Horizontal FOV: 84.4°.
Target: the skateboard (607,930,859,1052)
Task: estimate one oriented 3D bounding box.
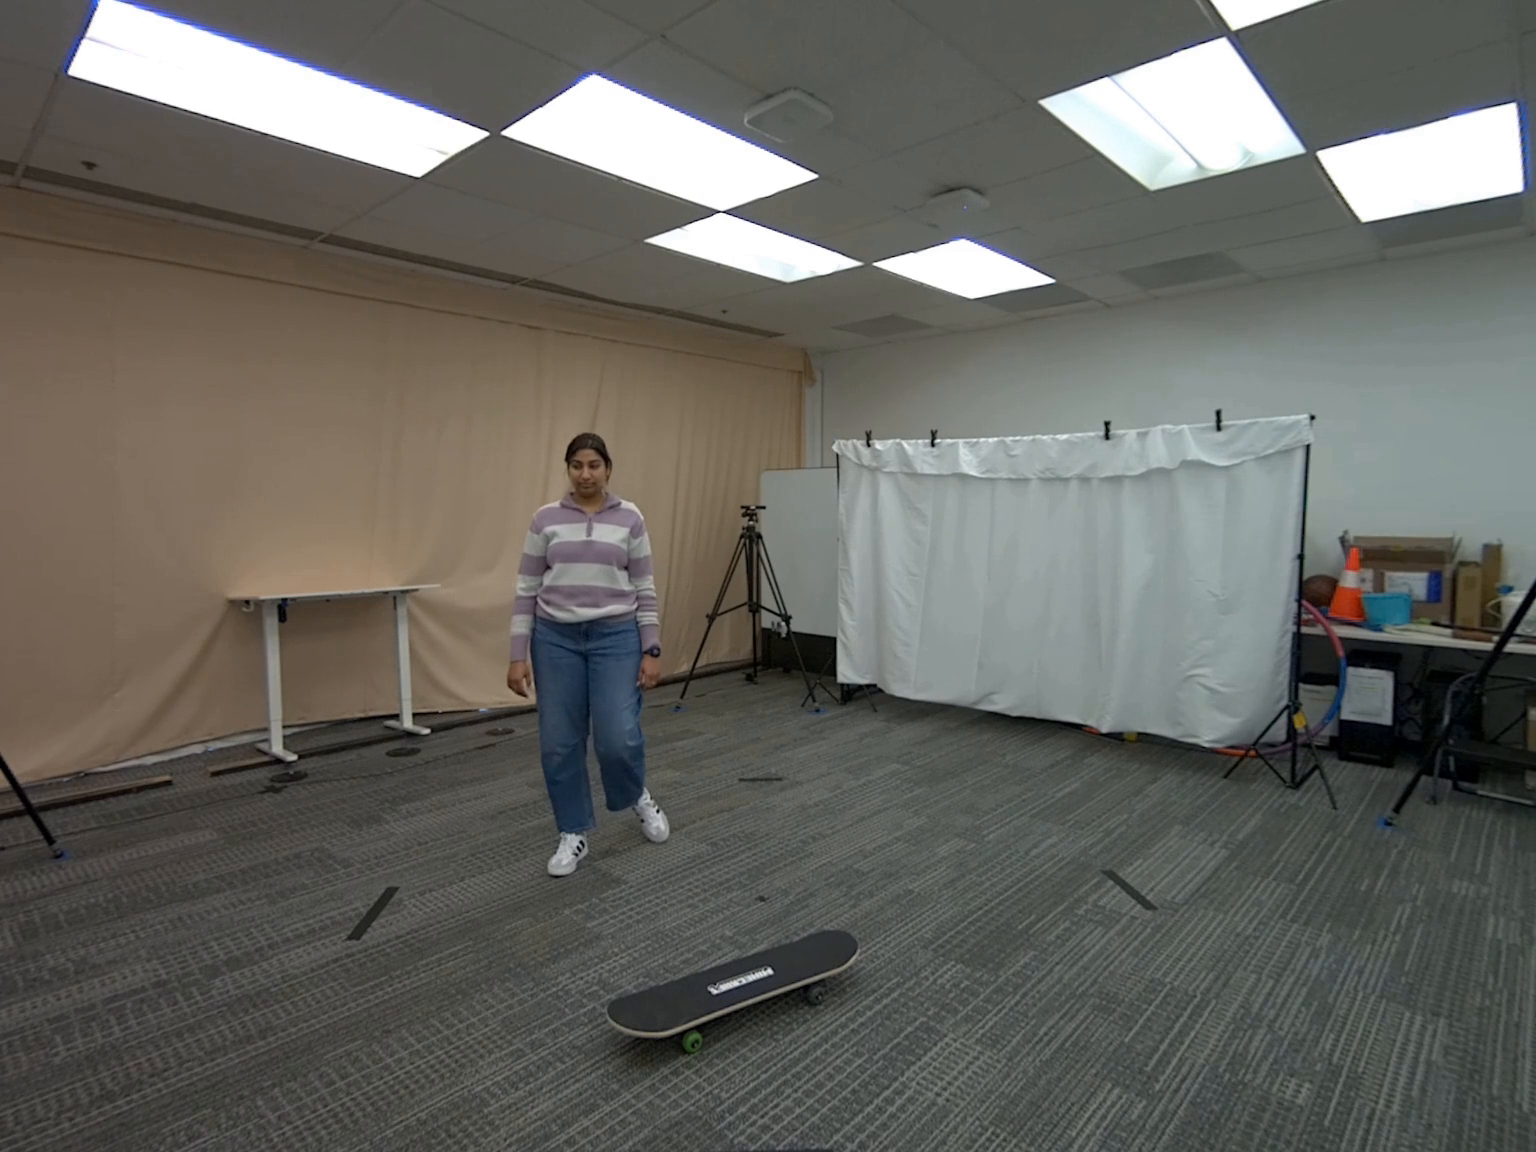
[{"bbox_3d":[-0.071,1.143,2.314,0.764,0.110,0.199,-3,5,-31],"label":"skateboard"}]
